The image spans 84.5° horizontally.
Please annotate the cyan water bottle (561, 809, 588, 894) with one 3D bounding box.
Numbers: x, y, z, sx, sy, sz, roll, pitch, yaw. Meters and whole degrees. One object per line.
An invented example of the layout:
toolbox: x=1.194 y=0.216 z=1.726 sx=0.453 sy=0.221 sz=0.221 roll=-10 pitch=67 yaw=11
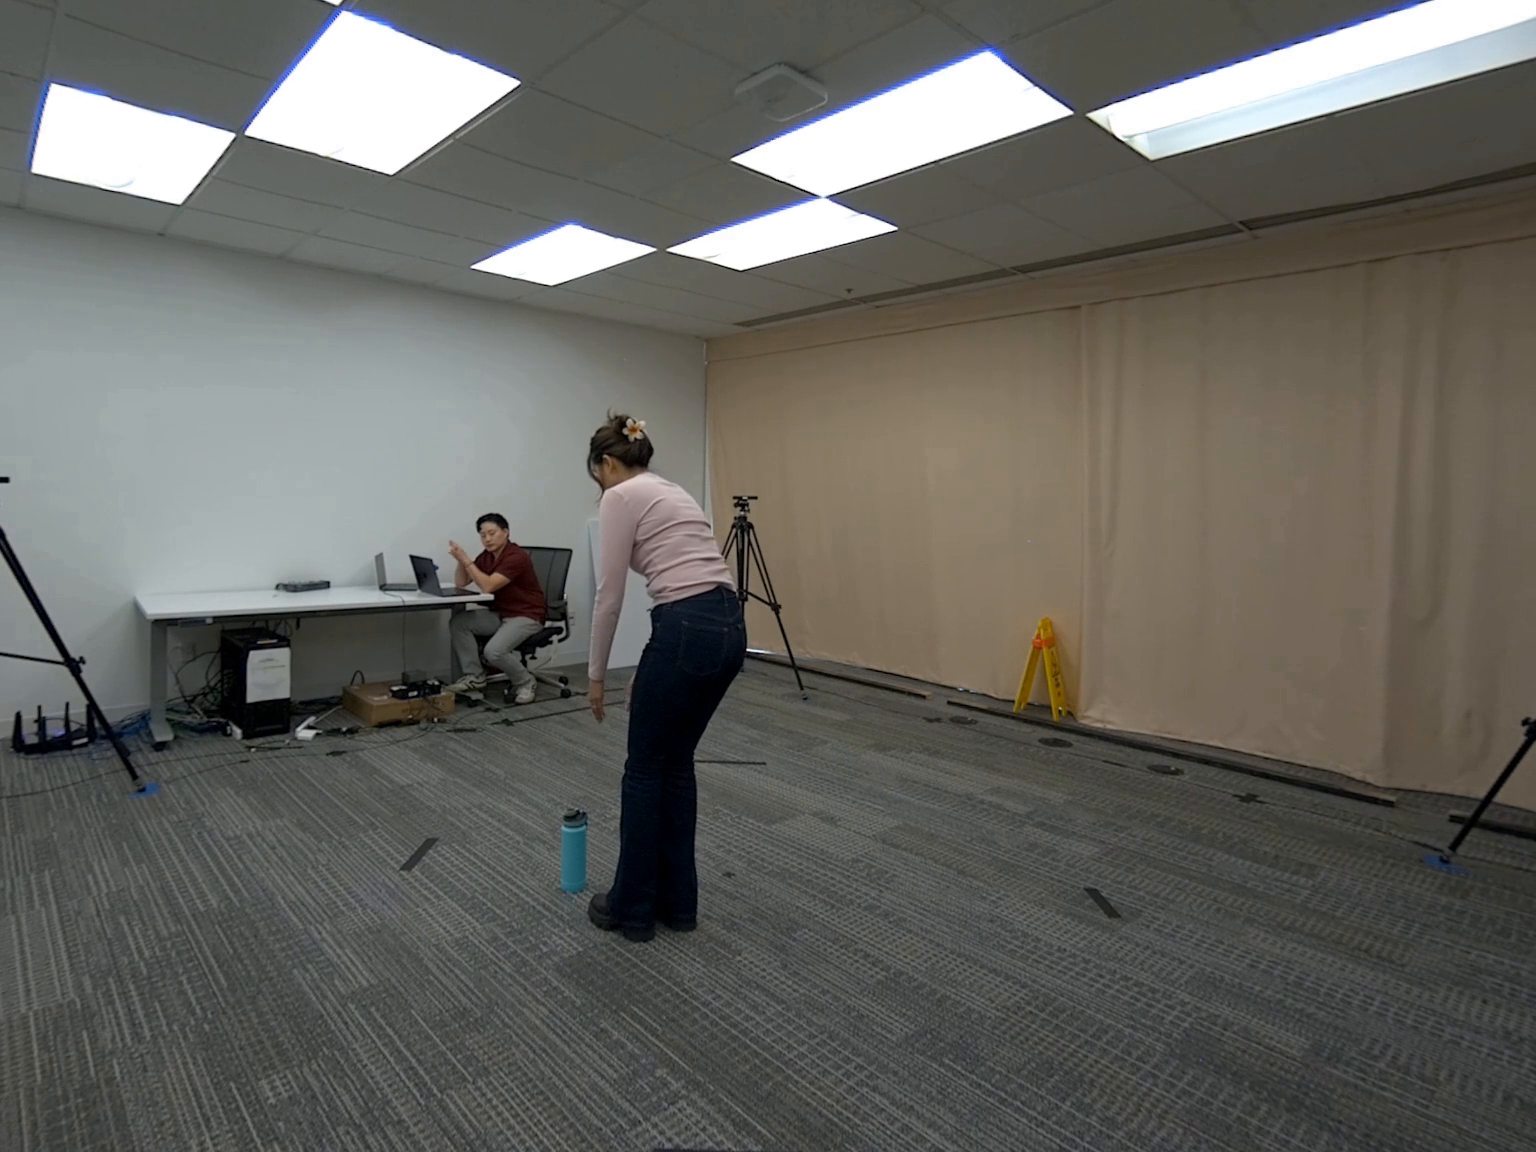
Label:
cyan water bottle: x=-0.701 y=0.964 z=2.972 sx=0.092 sy=0.283 sz=0.092 roll=2 pitch=3 yaw=-2
